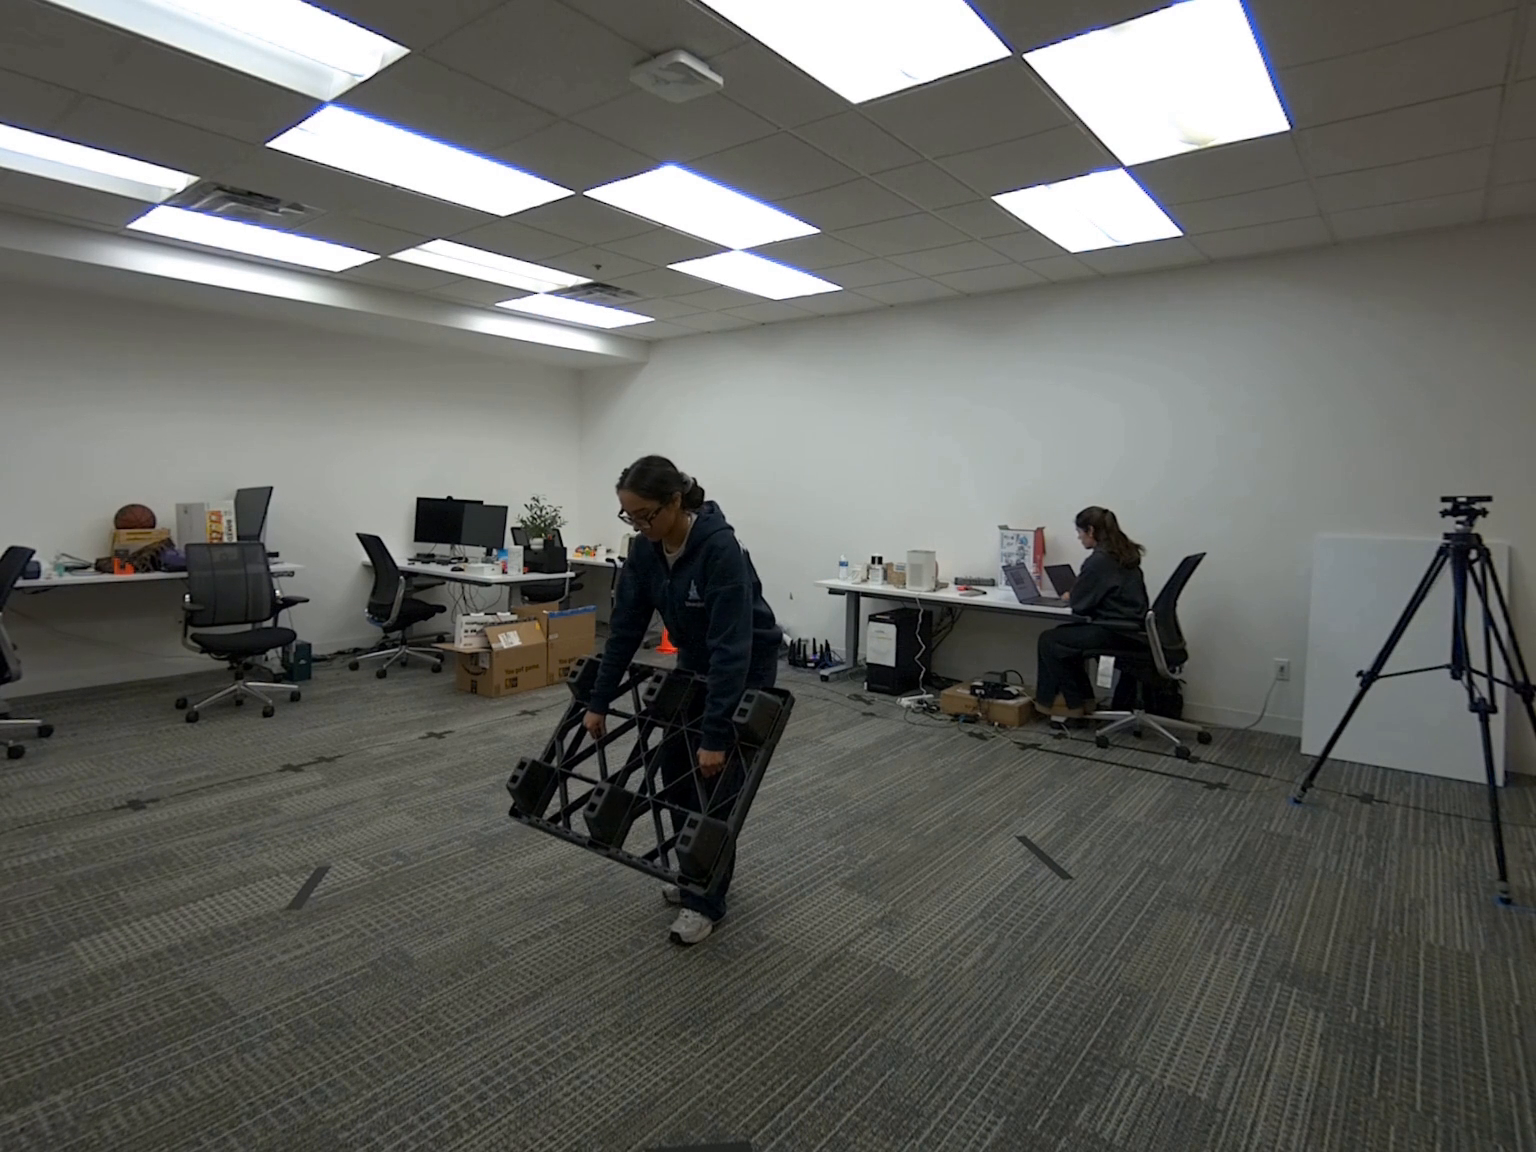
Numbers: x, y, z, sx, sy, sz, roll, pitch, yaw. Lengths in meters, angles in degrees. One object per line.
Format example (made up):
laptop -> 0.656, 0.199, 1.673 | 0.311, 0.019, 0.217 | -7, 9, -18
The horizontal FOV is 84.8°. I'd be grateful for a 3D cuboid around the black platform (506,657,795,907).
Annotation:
black platform -> -0.391, 0.517, 2.518 | 0.832, 0.611, 0.137 | 5, -33, 35
